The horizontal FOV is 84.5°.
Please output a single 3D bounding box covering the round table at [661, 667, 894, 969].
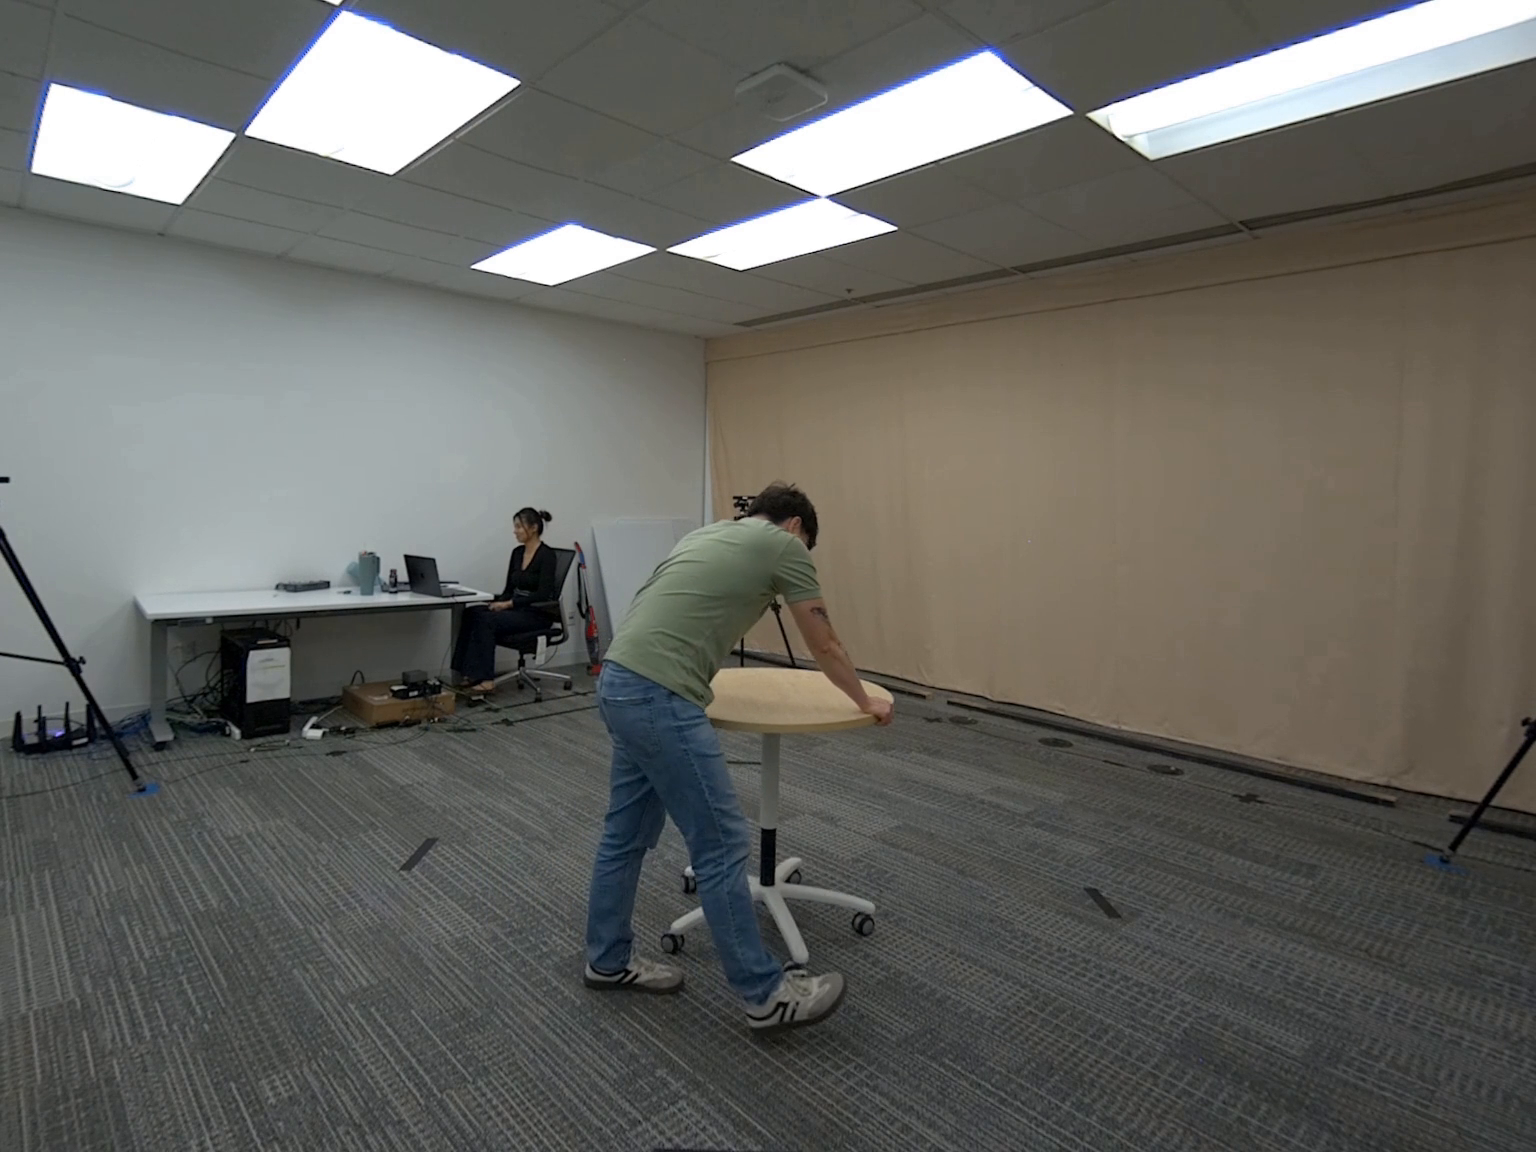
[{"bbox_3d":[0.000,0.760,2.719,0.763,0.792,0.767,1,4,-1],"label":"round table"}]
